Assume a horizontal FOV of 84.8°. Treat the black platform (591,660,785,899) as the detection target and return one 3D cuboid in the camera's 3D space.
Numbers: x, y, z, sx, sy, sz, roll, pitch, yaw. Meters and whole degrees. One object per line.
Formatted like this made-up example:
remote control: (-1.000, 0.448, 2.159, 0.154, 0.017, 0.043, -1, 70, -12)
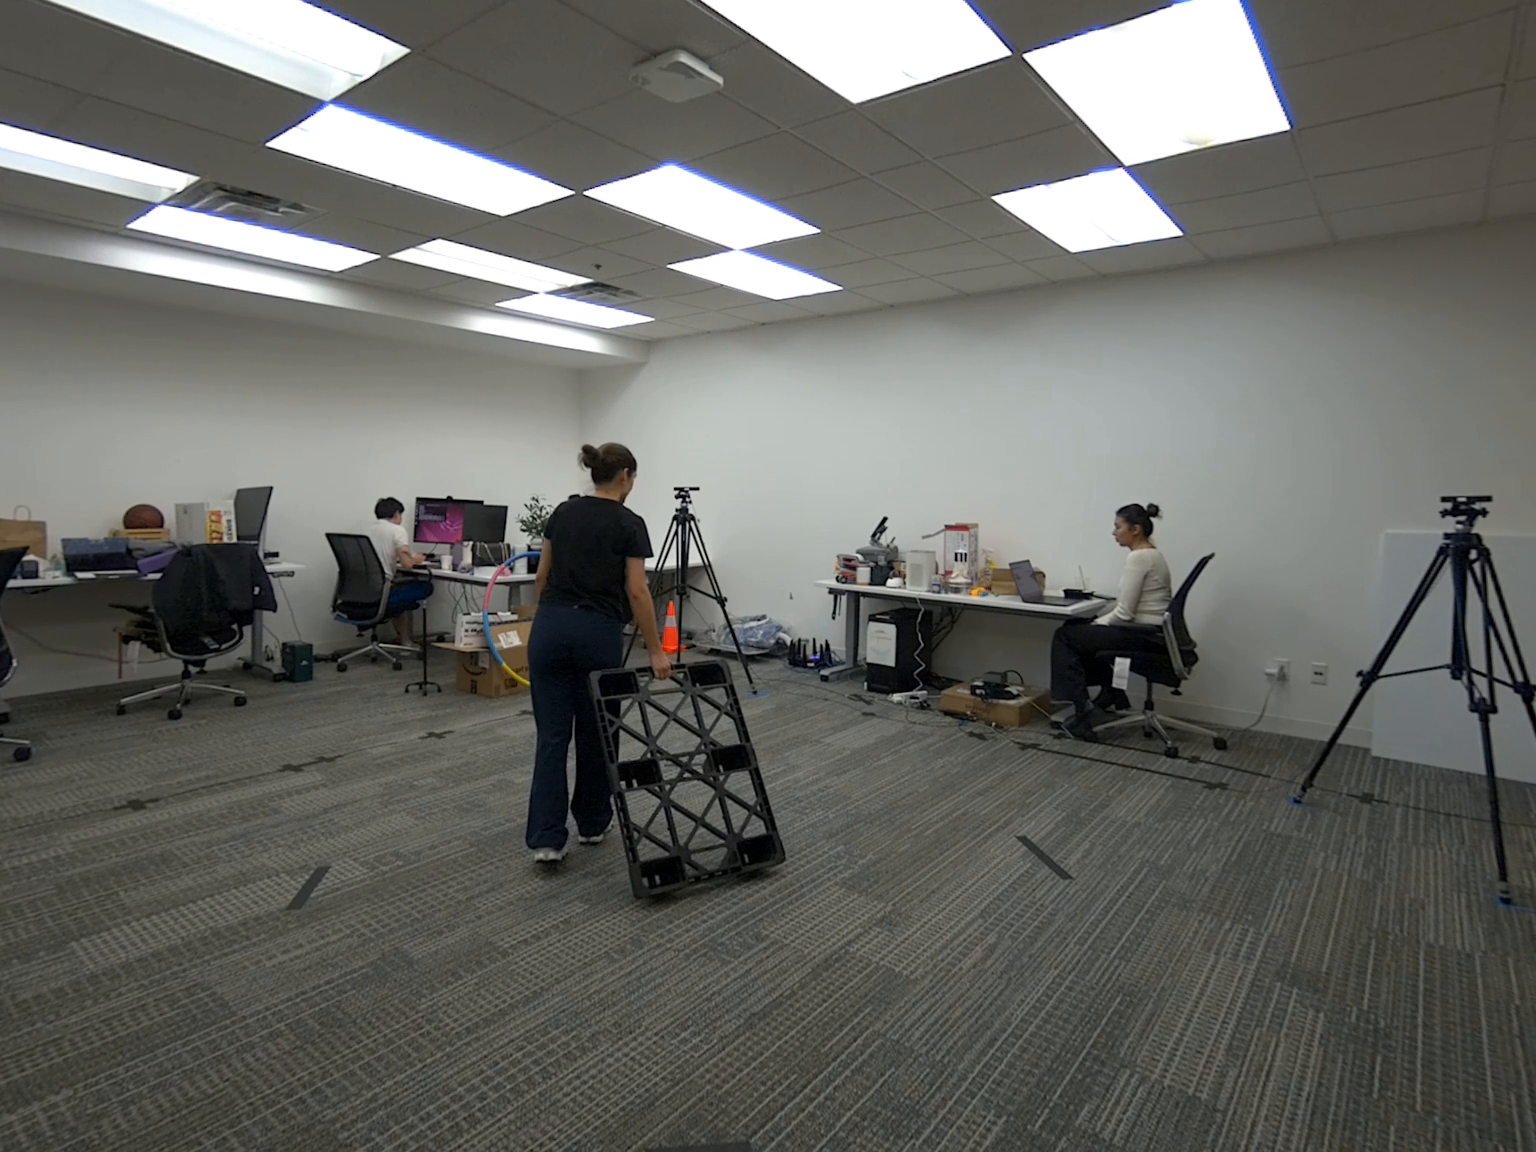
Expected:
black platform: (-0.308, 0.717, 3.161, 0.588, 0.830, 0.143, -1, -31, -31)
